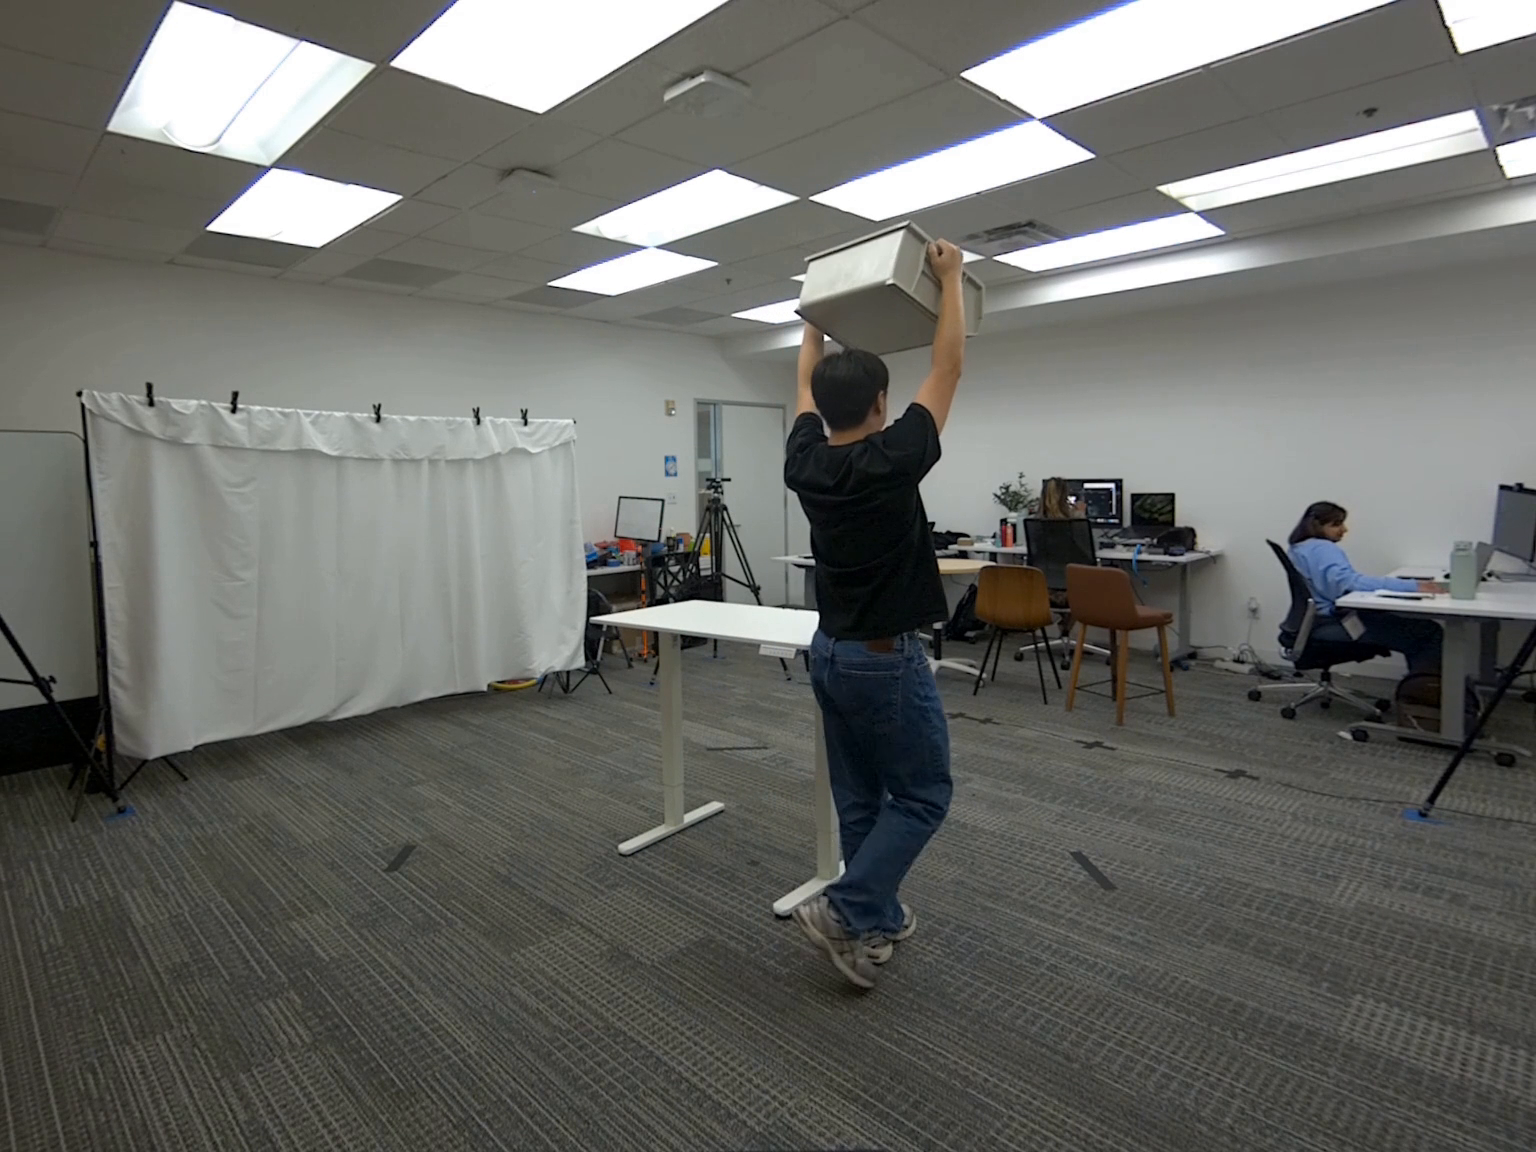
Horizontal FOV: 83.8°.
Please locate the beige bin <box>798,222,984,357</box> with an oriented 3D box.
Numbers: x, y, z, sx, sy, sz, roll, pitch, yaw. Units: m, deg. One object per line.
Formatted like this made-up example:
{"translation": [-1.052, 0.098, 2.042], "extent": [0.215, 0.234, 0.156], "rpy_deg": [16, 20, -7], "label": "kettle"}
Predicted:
{"translation": [0.358, -0.808, 2.512], "extent": [0.364, 0.190, 0.435], "rpy_deg": [24, -11, -35], "label": "beige bin"}
